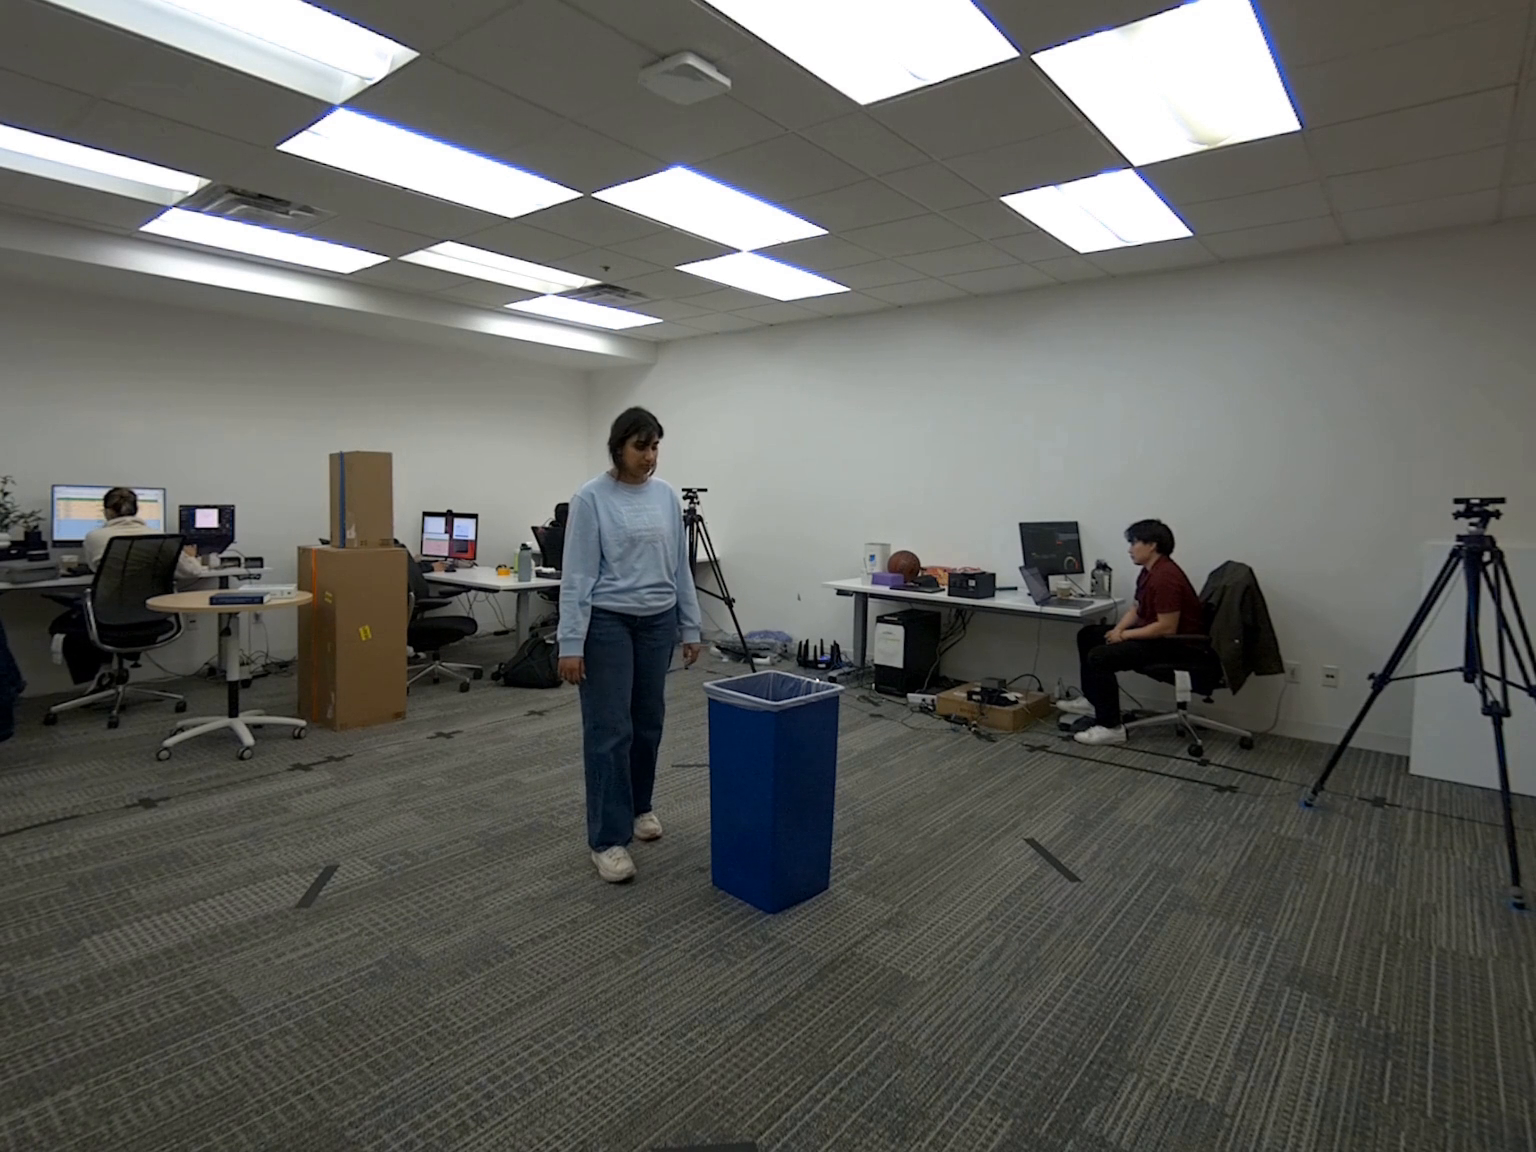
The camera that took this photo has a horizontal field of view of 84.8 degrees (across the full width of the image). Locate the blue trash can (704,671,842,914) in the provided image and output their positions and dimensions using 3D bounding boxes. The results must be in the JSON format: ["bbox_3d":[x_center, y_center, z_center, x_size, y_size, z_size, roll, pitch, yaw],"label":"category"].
[{"bbox_3d":[0.004,0.731,2.963,0.391,0.712,0.362,4,4,45],"label":"blue trash can"}]
